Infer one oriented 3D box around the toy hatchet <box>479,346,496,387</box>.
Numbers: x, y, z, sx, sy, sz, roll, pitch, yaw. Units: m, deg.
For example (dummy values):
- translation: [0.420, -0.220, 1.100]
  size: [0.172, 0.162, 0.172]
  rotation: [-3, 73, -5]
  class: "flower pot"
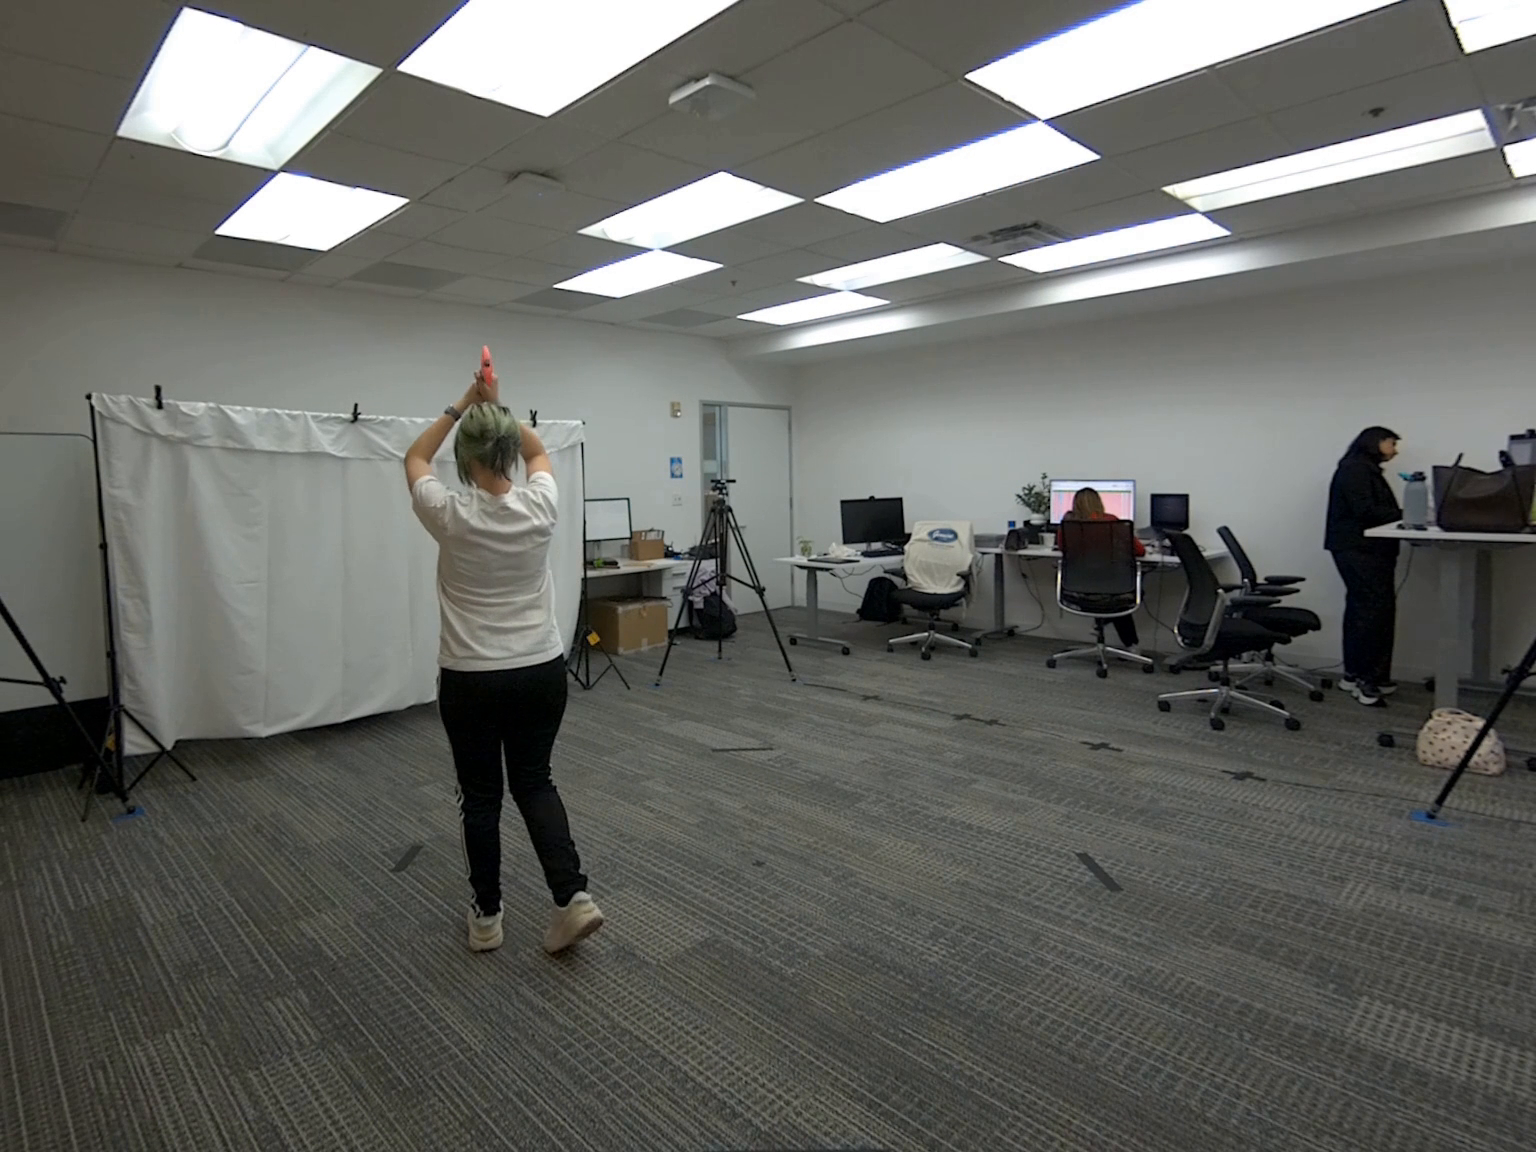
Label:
- translation: [-0.869, -0.626, 2.631]
  size: [0.029, 0.131, 0.275]
  rotation: [-5, 4, -19]
  class: "toy hatchet"
